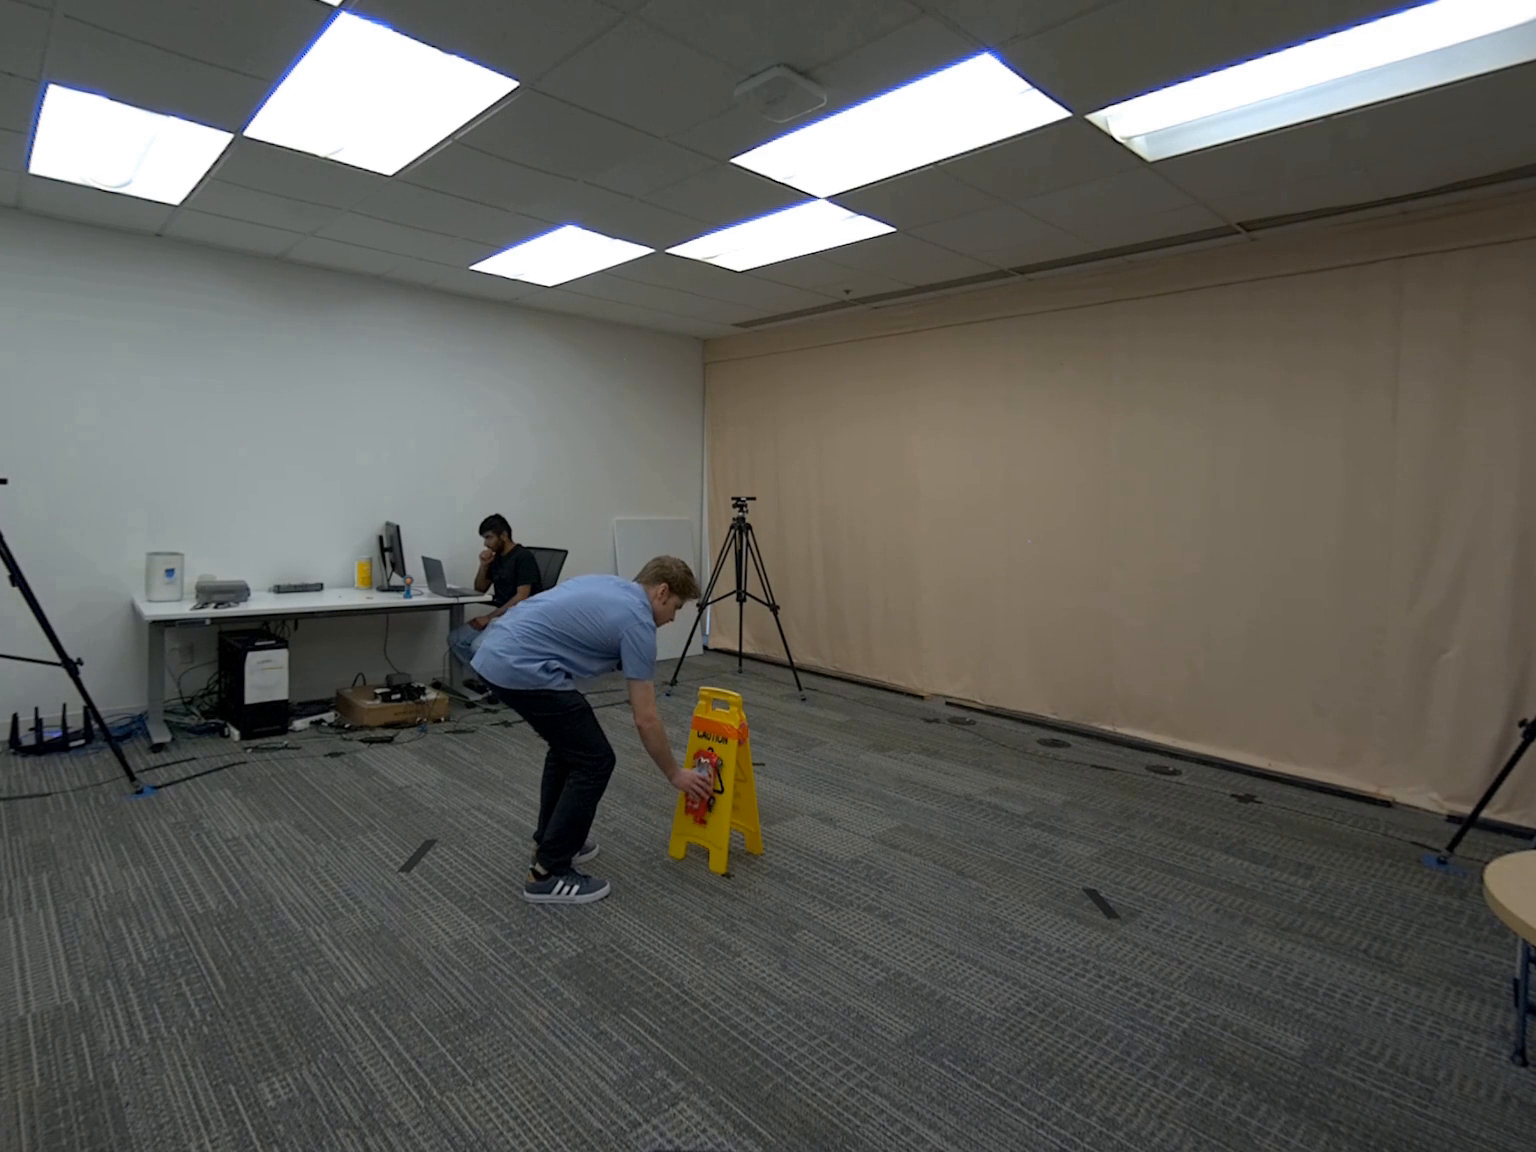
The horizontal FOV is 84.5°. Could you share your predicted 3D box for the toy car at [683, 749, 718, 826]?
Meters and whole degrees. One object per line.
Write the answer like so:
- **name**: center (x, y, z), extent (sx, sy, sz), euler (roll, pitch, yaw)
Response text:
- **toy car**: center (-0.276, 0.818, 3.209), extent (0.134, 0.255, 0.081), euler (14, -9, 32)
